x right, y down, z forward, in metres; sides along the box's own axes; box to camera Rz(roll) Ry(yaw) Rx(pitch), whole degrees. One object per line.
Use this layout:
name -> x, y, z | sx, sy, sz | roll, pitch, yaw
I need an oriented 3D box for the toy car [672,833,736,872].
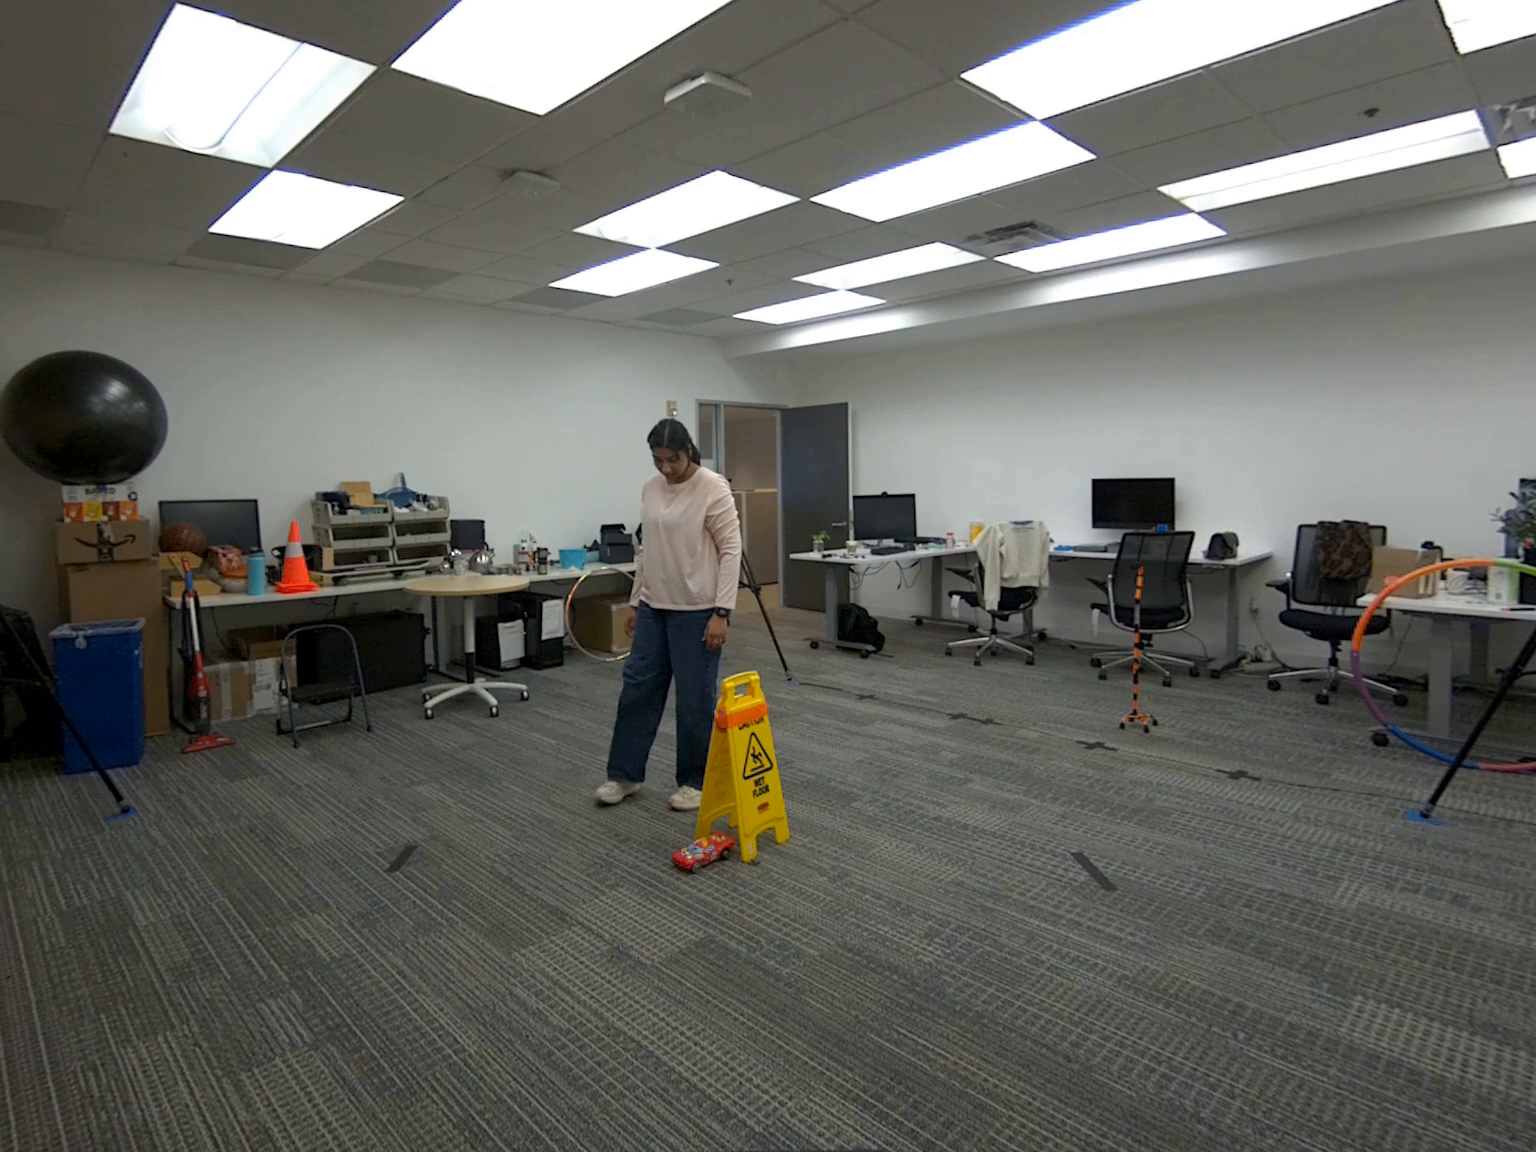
toy car -> -0.234, 1.020, 3.135 | 0.134, 0.082, 0.250 | 3, 16, 44
